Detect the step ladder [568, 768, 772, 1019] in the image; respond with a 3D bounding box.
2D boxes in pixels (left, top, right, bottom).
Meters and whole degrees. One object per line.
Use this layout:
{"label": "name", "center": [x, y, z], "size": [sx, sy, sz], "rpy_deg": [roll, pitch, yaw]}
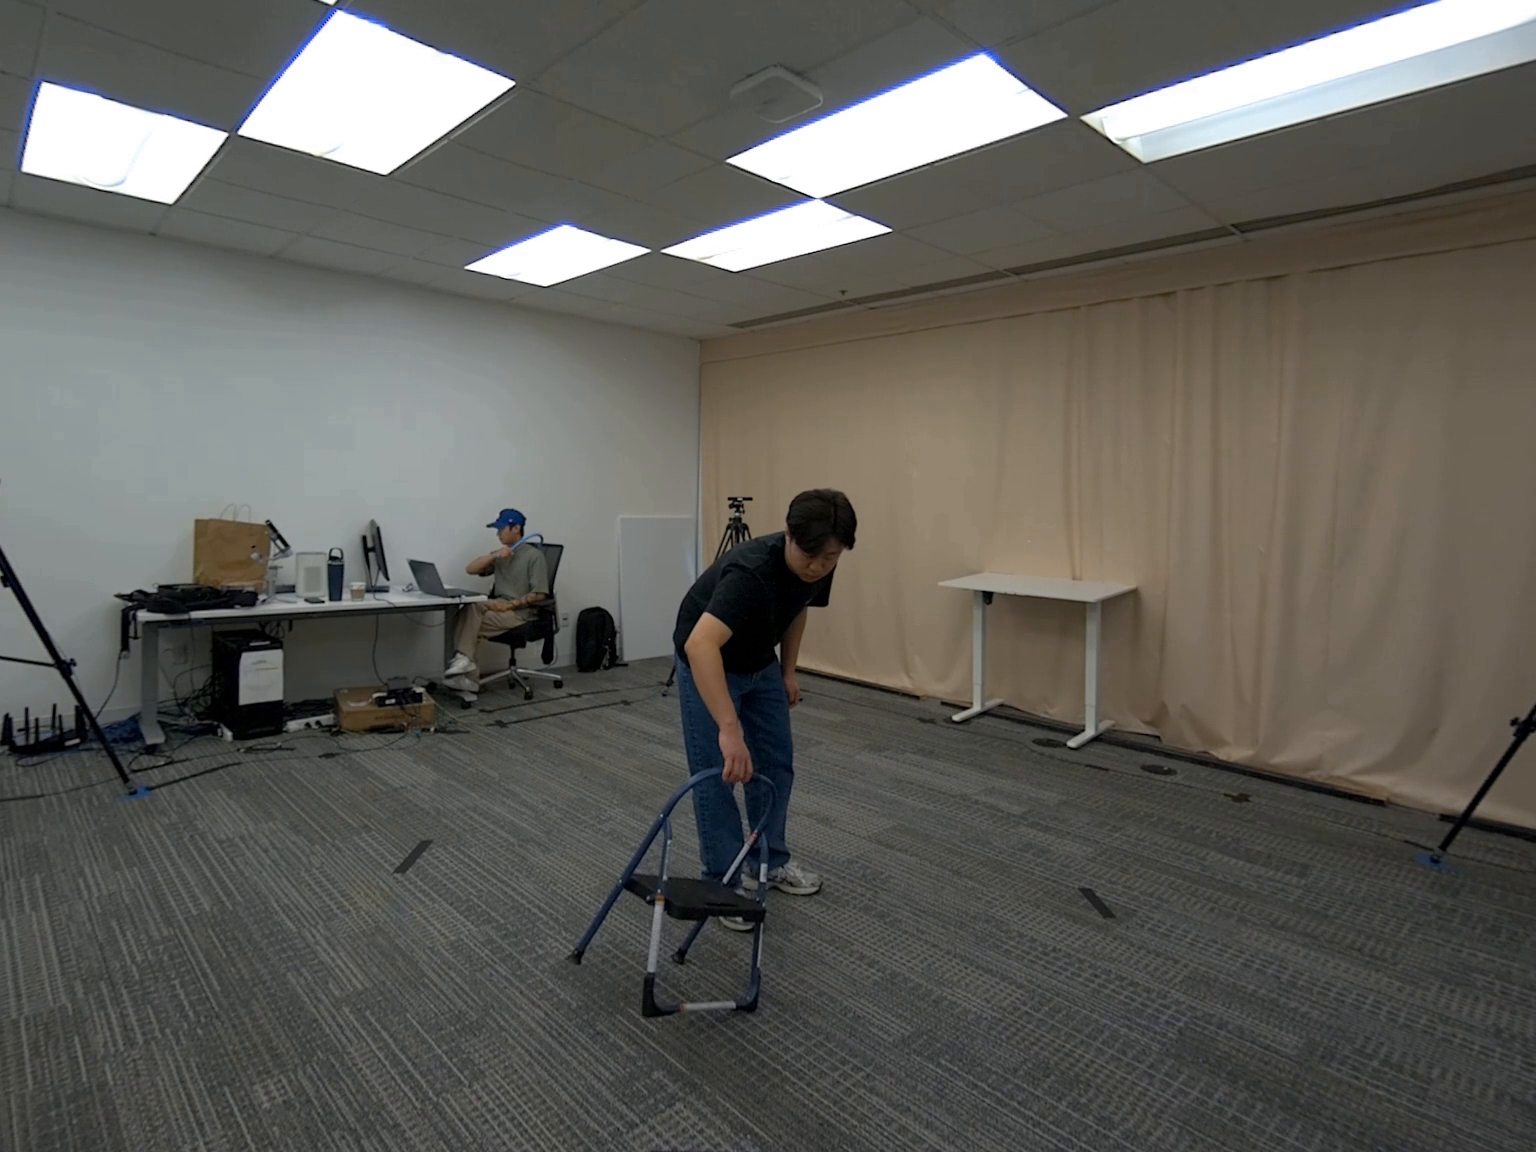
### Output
{"label": "step ladder", "center": [-0.209, 0.827, 2.322], "size": [0.358, 0.609, 0.417], "rpy_deg": [7, -13, 44]}
